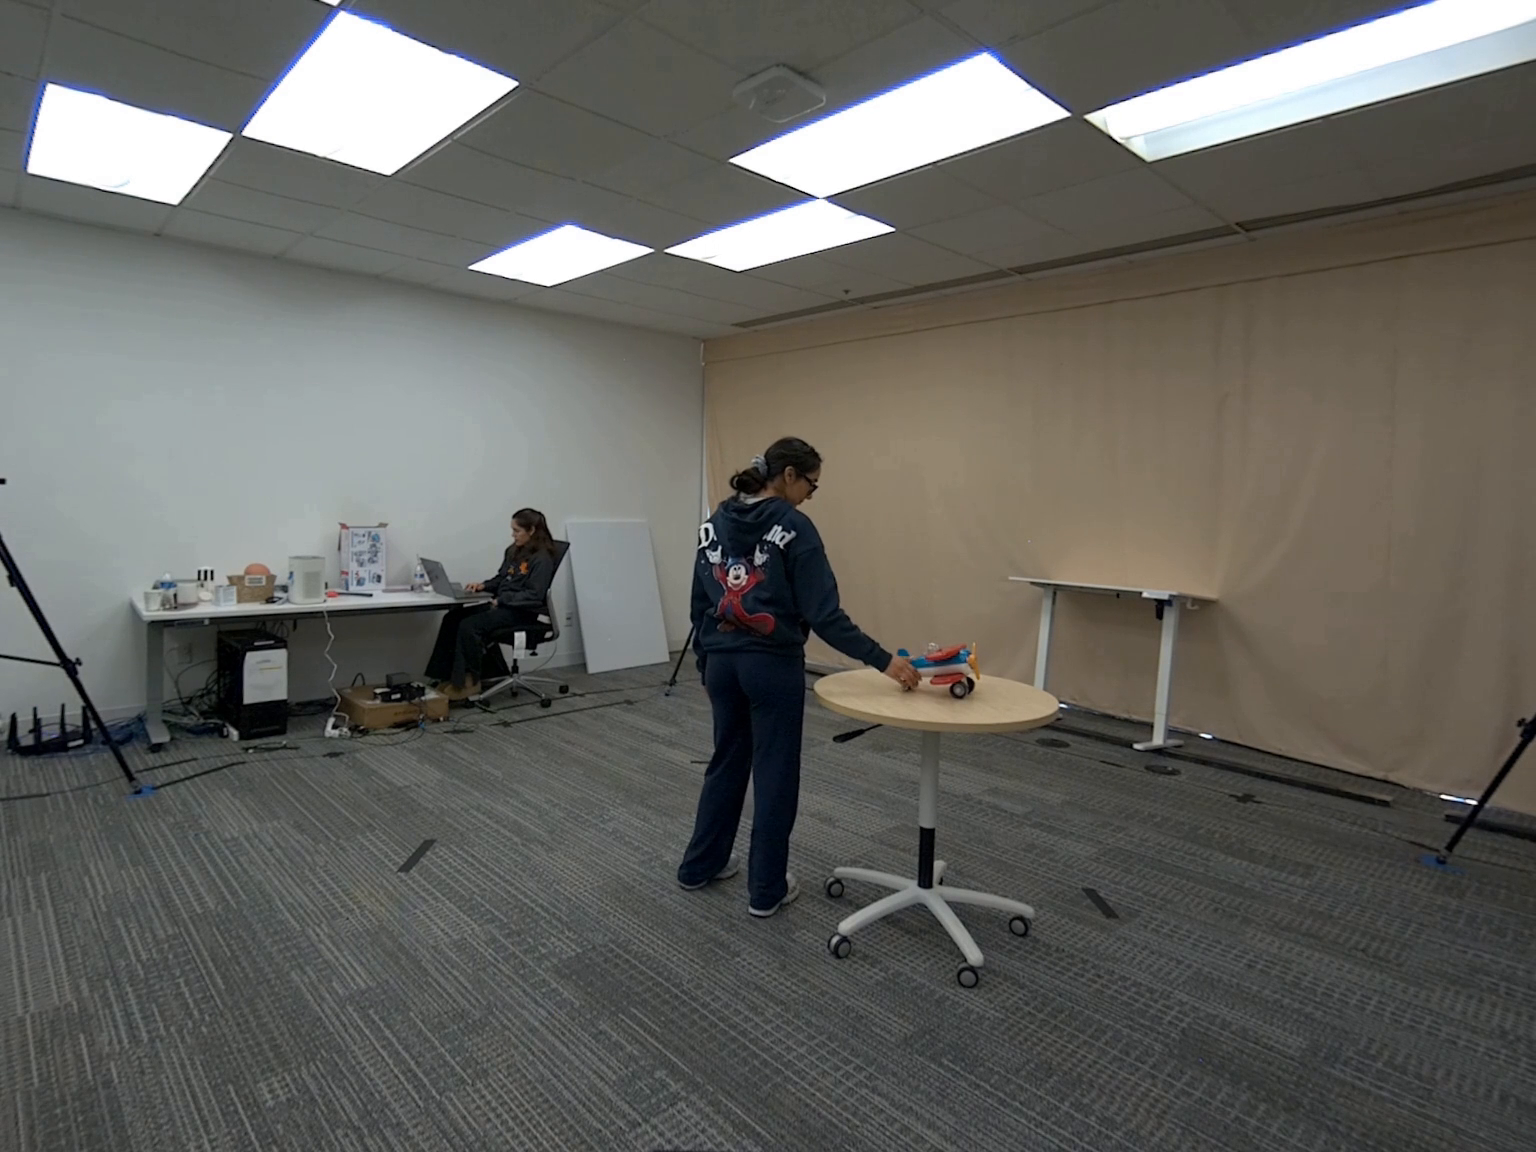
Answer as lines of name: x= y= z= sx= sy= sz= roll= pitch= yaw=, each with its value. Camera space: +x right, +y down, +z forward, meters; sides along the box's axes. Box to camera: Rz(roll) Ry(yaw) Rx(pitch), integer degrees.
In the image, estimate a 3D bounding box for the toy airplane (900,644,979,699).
toy airplane: x=0.534 y=0.297 z=2.692 sx=0.259 sy=0.156 sz=0.252 roll=2 pitch=6 yaw=0
